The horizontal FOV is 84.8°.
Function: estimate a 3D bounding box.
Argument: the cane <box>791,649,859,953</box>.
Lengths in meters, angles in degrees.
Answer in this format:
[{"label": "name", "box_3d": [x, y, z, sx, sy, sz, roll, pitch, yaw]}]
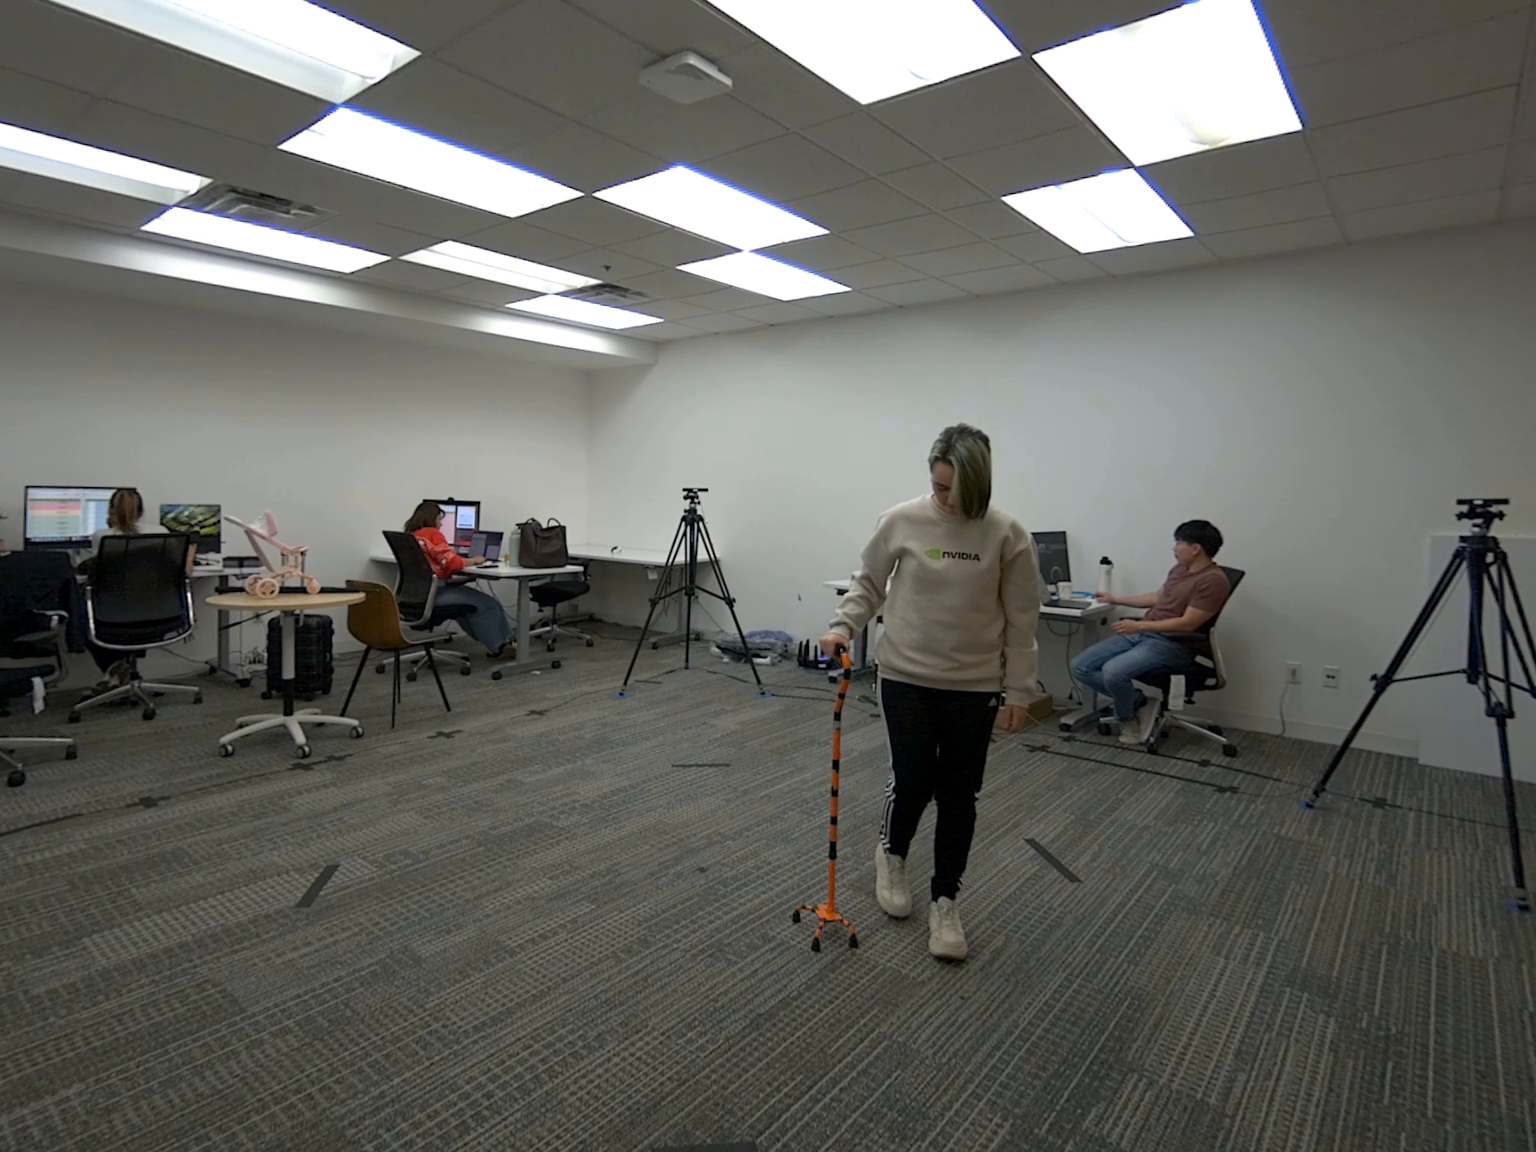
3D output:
[{"label": "cane", "box_3d": [0.187, 0.675, 2.654, 0.149, 0.904, 0.211, 0, 4, -19]}]
